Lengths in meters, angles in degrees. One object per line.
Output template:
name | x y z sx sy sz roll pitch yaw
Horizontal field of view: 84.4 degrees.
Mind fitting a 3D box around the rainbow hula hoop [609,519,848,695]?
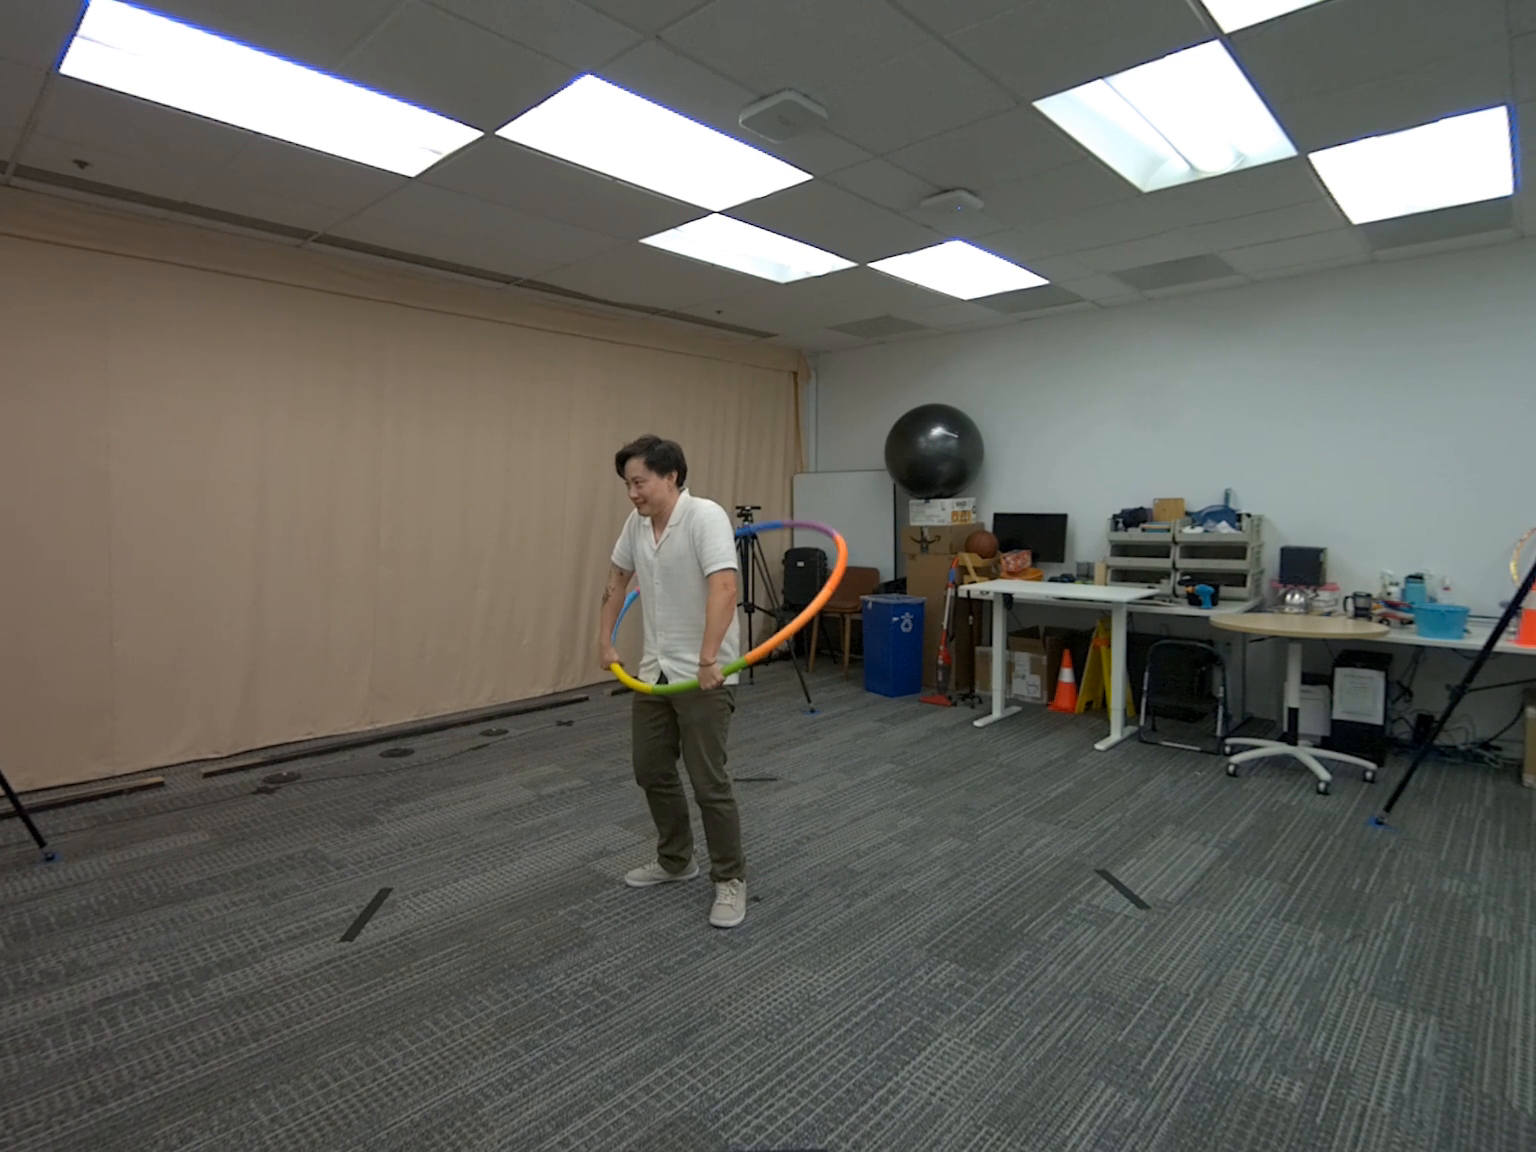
rainbow hula hoop | -0.189 0.097 3.123 0.987 0.035 0.995 -22 28 10
